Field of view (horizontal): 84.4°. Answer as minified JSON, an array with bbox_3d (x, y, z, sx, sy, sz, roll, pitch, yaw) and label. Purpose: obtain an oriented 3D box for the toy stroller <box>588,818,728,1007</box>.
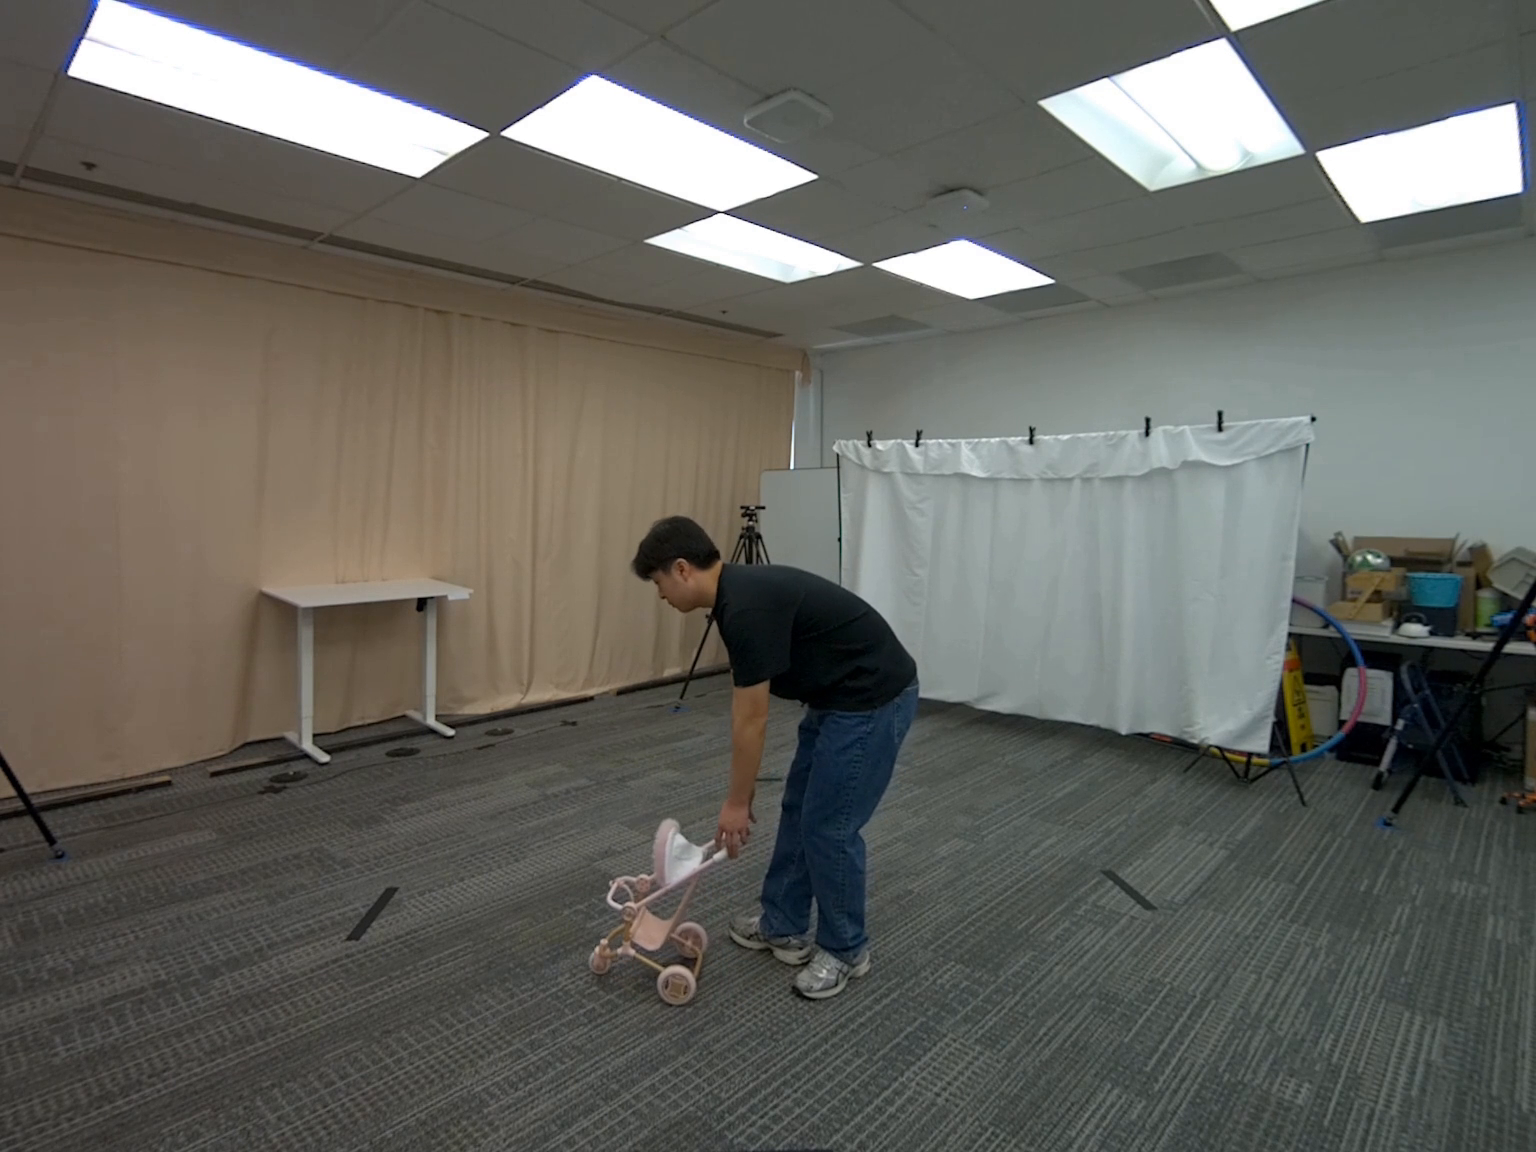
[{"bbox_3d":[-0.308,0.962,2.481,0.346,0.534,0.278,17,5,10],"label":"toy stroller"}]
